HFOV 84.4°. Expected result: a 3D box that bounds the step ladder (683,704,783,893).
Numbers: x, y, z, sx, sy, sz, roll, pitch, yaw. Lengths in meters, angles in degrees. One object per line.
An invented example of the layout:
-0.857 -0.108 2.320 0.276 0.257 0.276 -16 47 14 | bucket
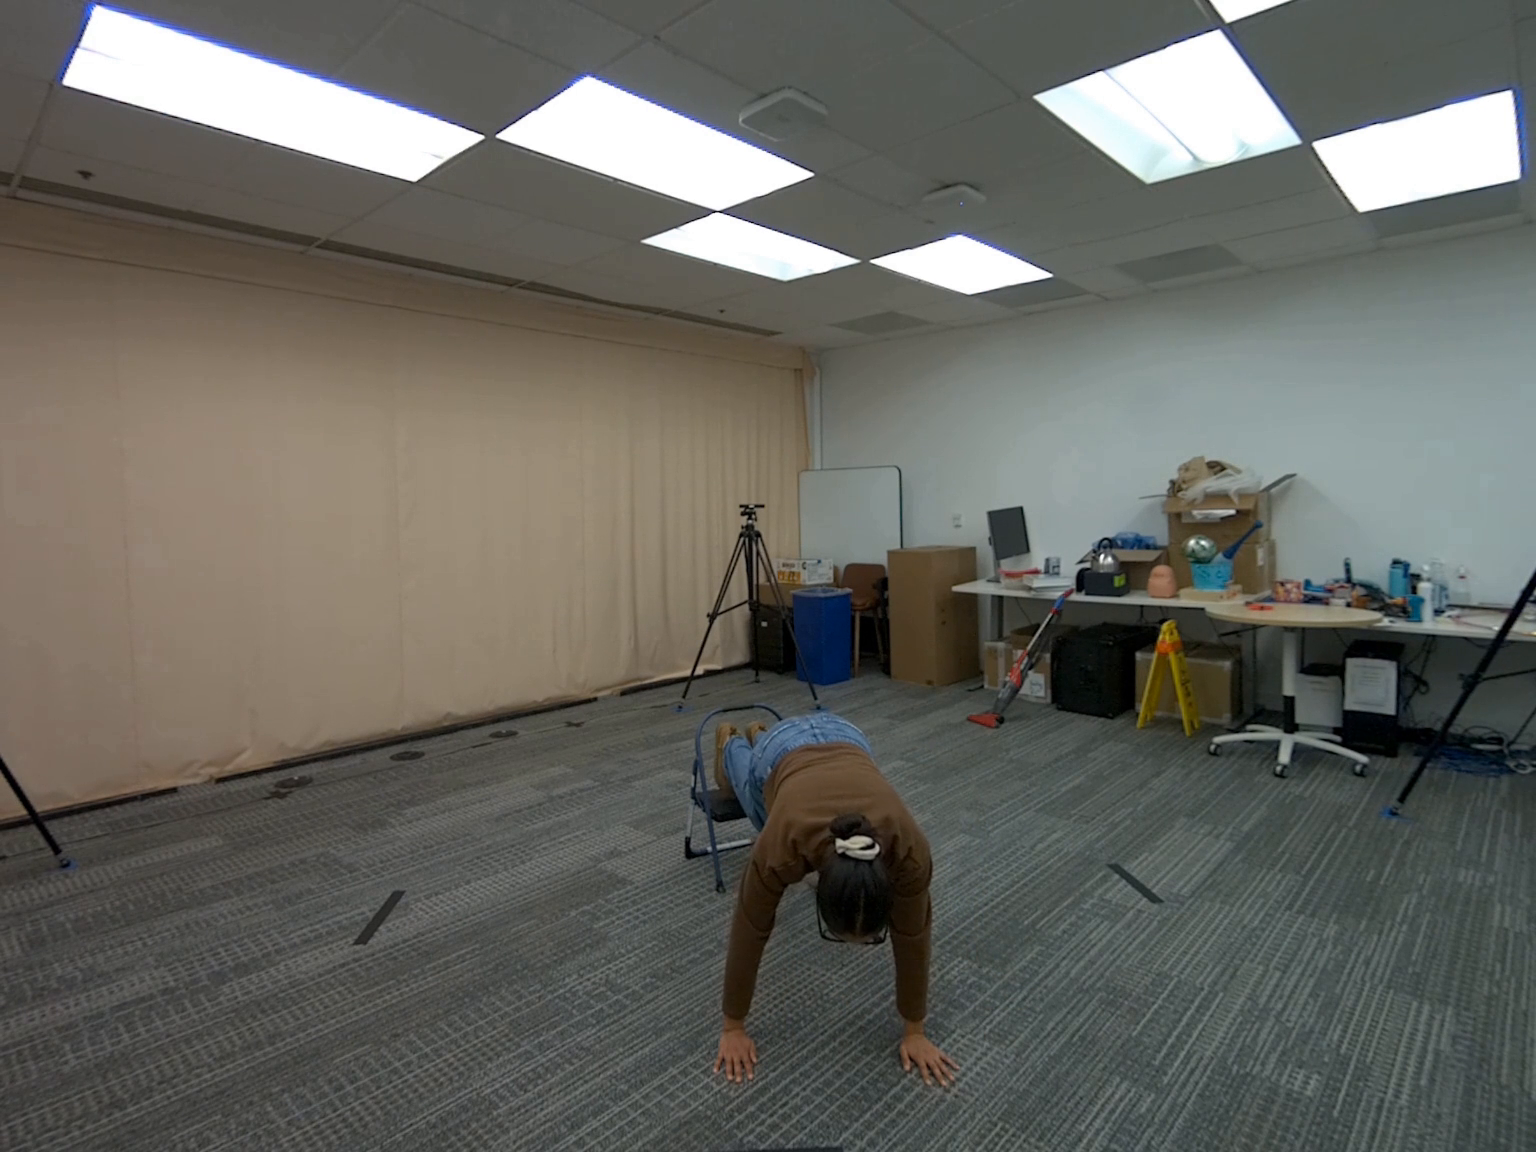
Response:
-0.074 0.816 3.255 0.420 0.604 0.359 -3 4 -27 | step ladder
